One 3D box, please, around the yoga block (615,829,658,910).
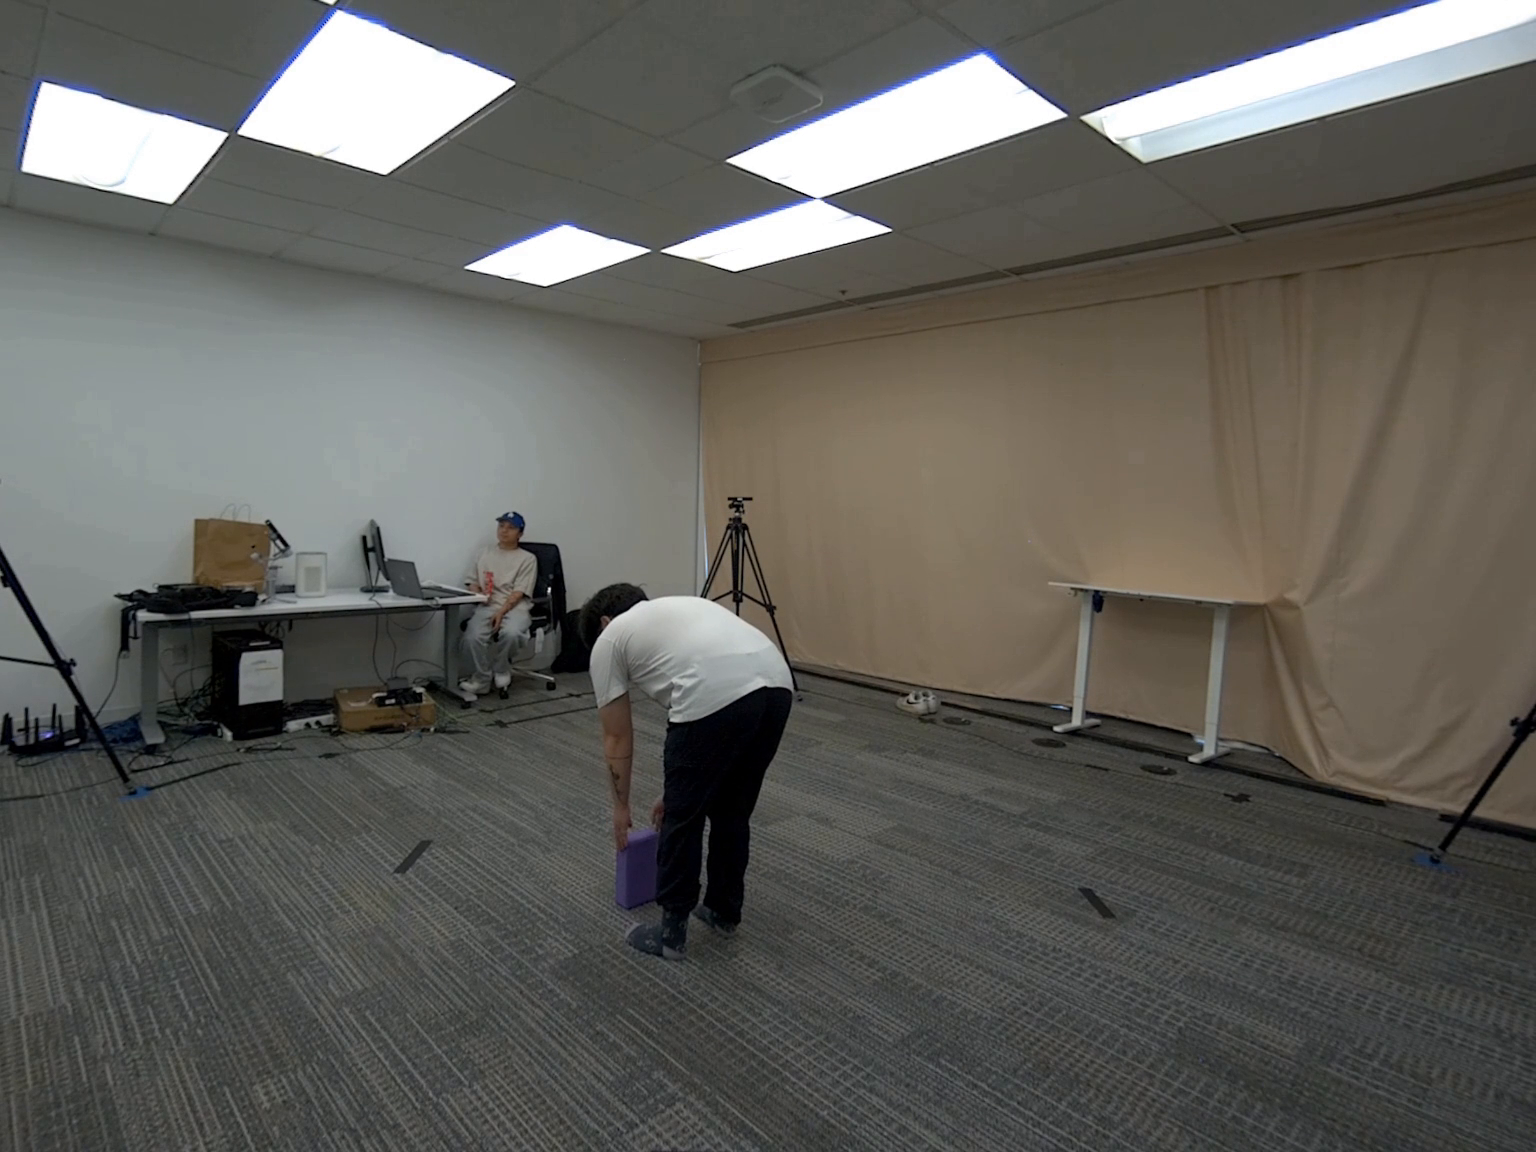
[{"bbox_3d":[-0.453,1.010,2.891,0.146,0.228,0.078,-4,7,-43],"label":"yoga block"}]
